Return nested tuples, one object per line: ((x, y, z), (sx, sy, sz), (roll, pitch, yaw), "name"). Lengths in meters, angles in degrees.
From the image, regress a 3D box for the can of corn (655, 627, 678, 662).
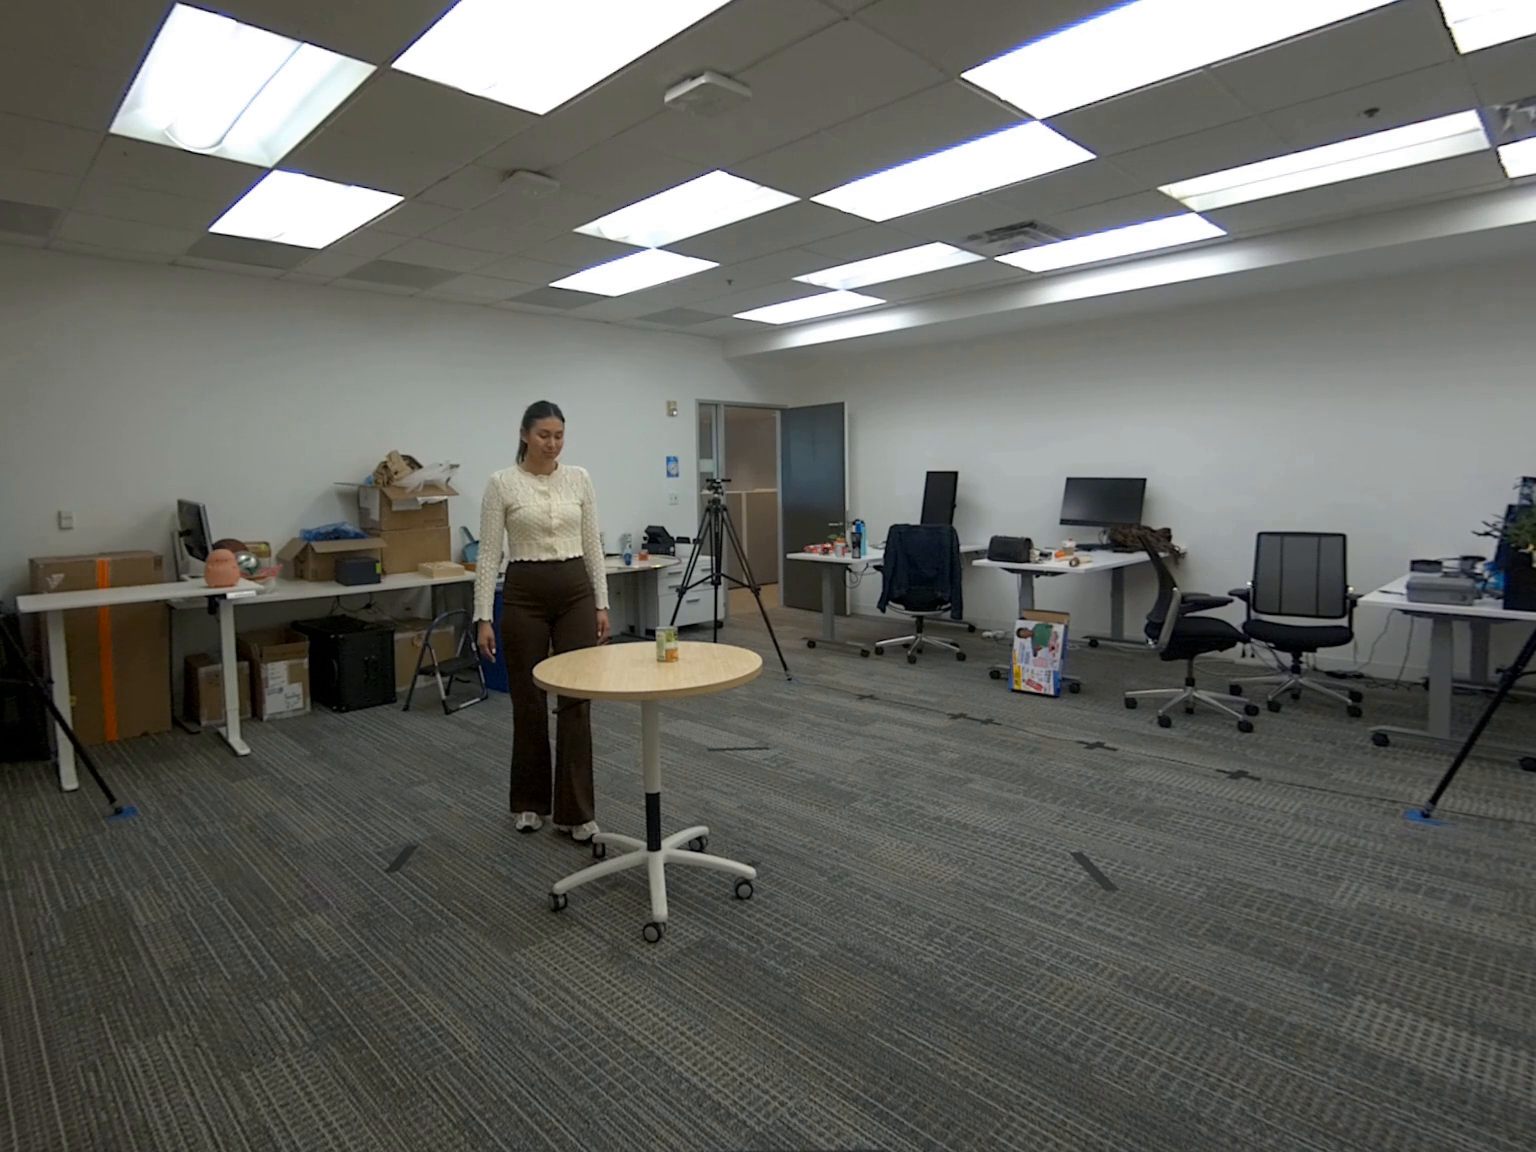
((-0.344, 0.229, 2.917), (0.074, 0.111, 0.074), (-1, 4, -2), "can of corn")
